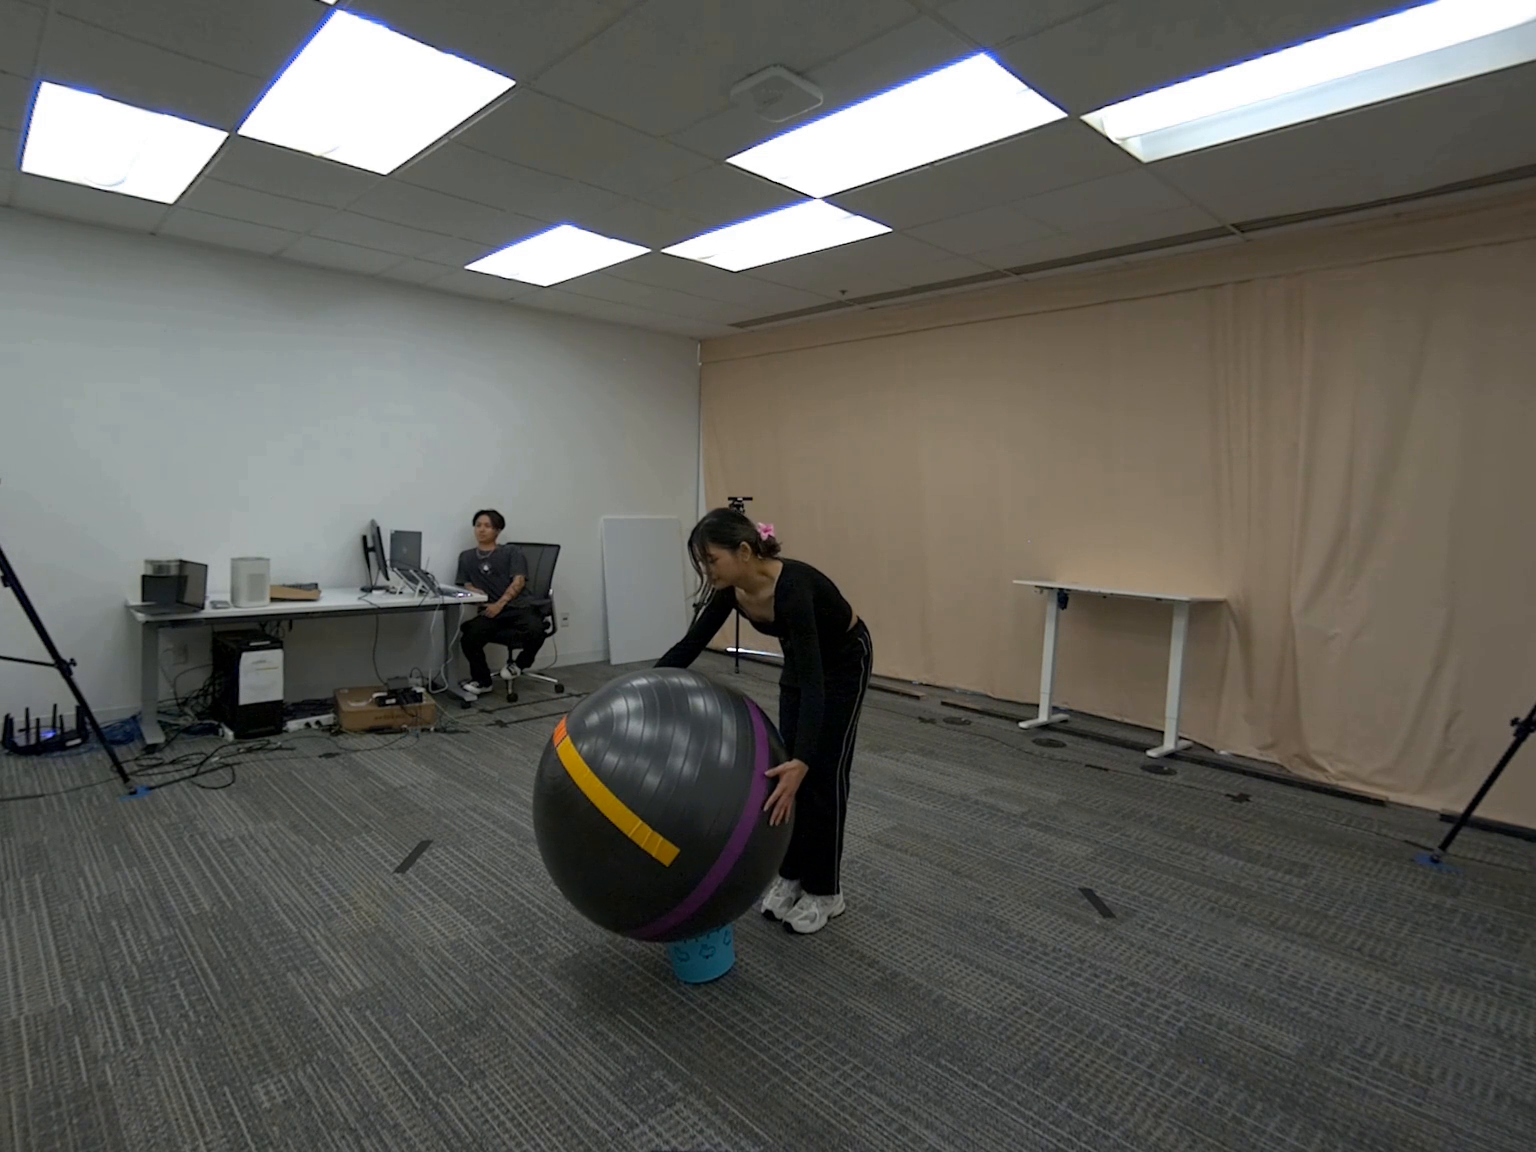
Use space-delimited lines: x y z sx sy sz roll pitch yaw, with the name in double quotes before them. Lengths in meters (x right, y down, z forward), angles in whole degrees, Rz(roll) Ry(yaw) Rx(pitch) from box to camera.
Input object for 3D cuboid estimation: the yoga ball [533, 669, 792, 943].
"yoga ball" -0.305 0.657 2.434 0.757 0.756 0.761 1 4 -1
